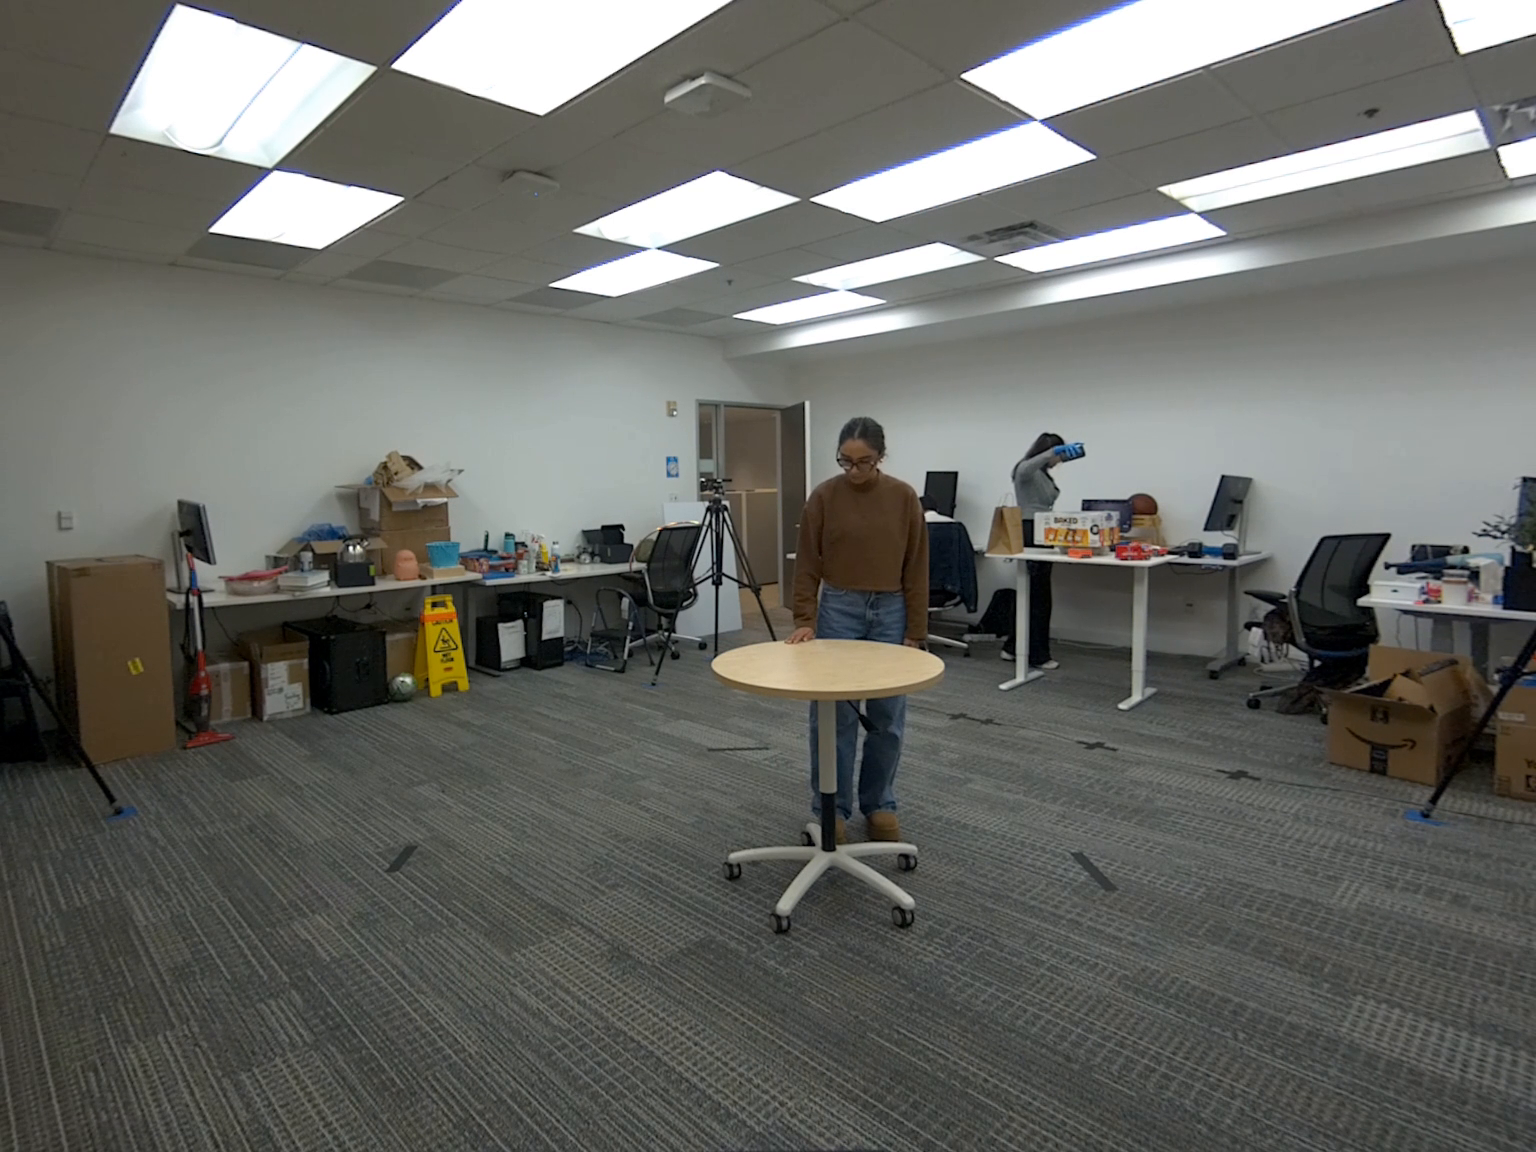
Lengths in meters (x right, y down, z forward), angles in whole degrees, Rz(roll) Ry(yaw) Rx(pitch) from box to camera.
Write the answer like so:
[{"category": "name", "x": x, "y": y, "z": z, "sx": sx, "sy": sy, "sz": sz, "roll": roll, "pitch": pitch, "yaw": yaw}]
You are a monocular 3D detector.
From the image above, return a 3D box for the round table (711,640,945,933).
[{"category": "round table", "x": 0.205, "y": 0.680, "z": 2.872, "sx": 0.763, "sy": 0.791, "sz": 0.768, "roll": -1, "pitch": 5, "yaw": -2}]
